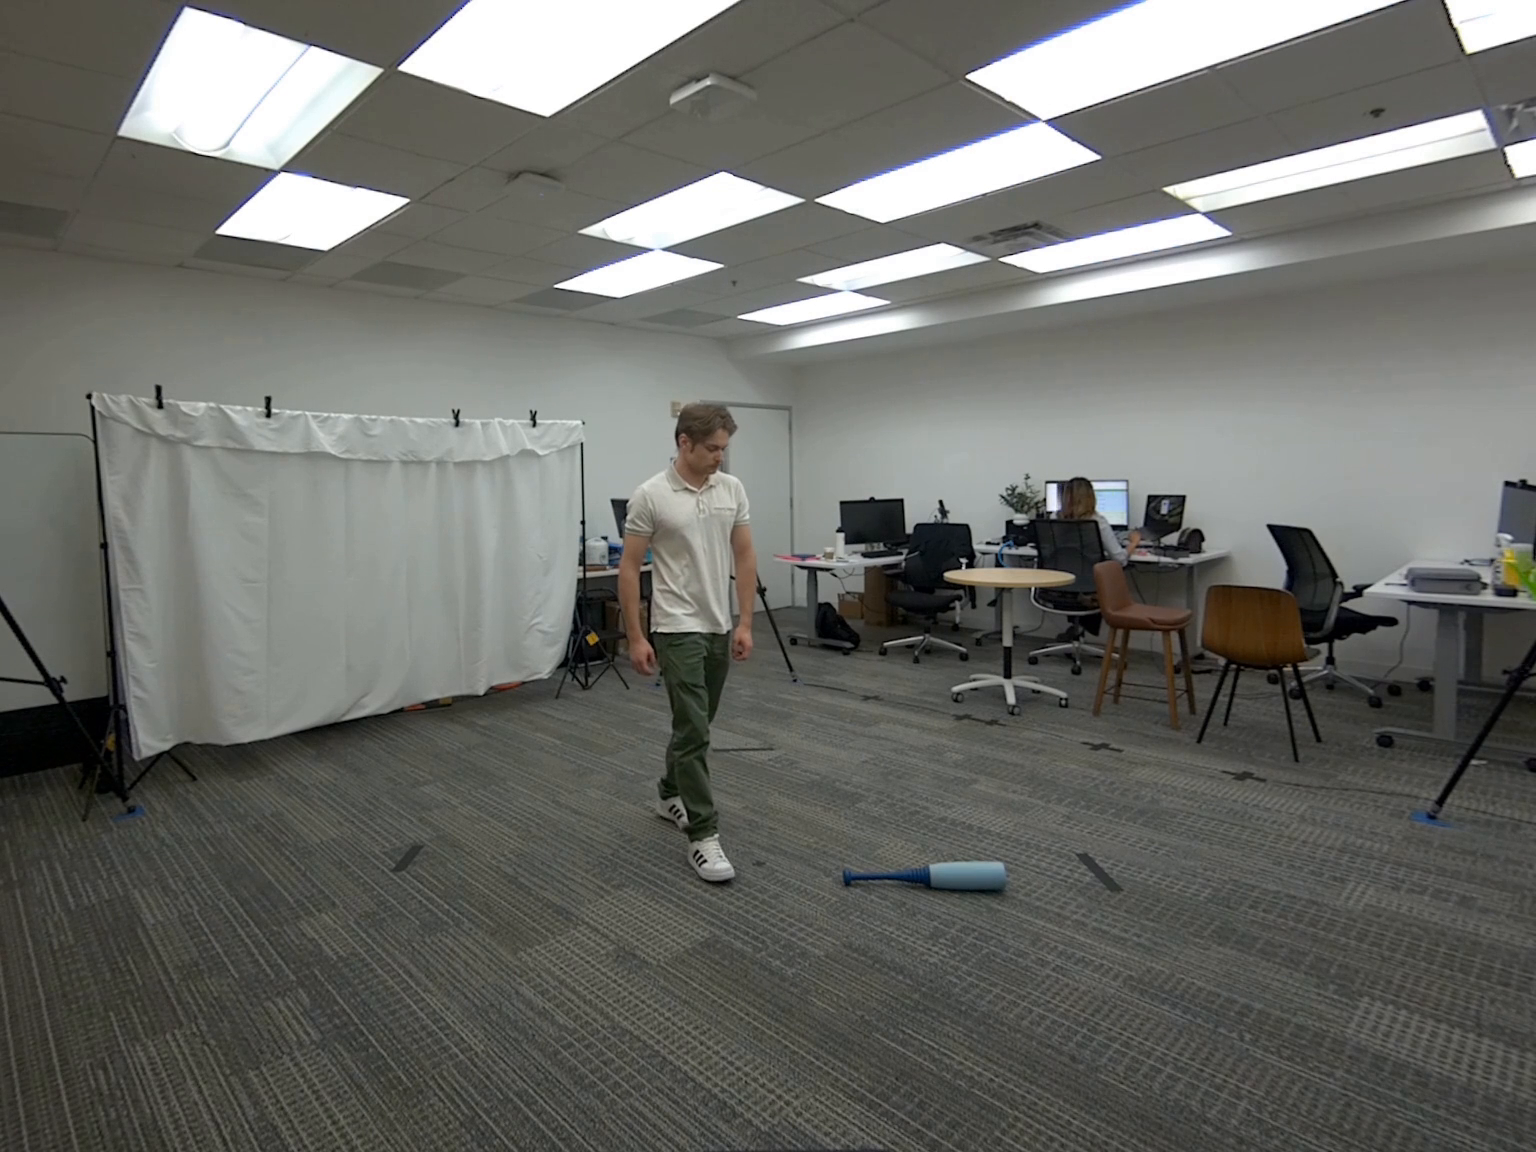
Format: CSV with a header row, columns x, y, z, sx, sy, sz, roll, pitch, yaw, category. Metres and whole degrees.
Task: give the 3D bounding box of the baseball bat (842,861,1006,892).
x,y,z,sx,sy,sz,roll,pitch,yaw,category
0.531,1.025,2.908,0.546,0.089,0.089,-4,4,7,baseball bat
